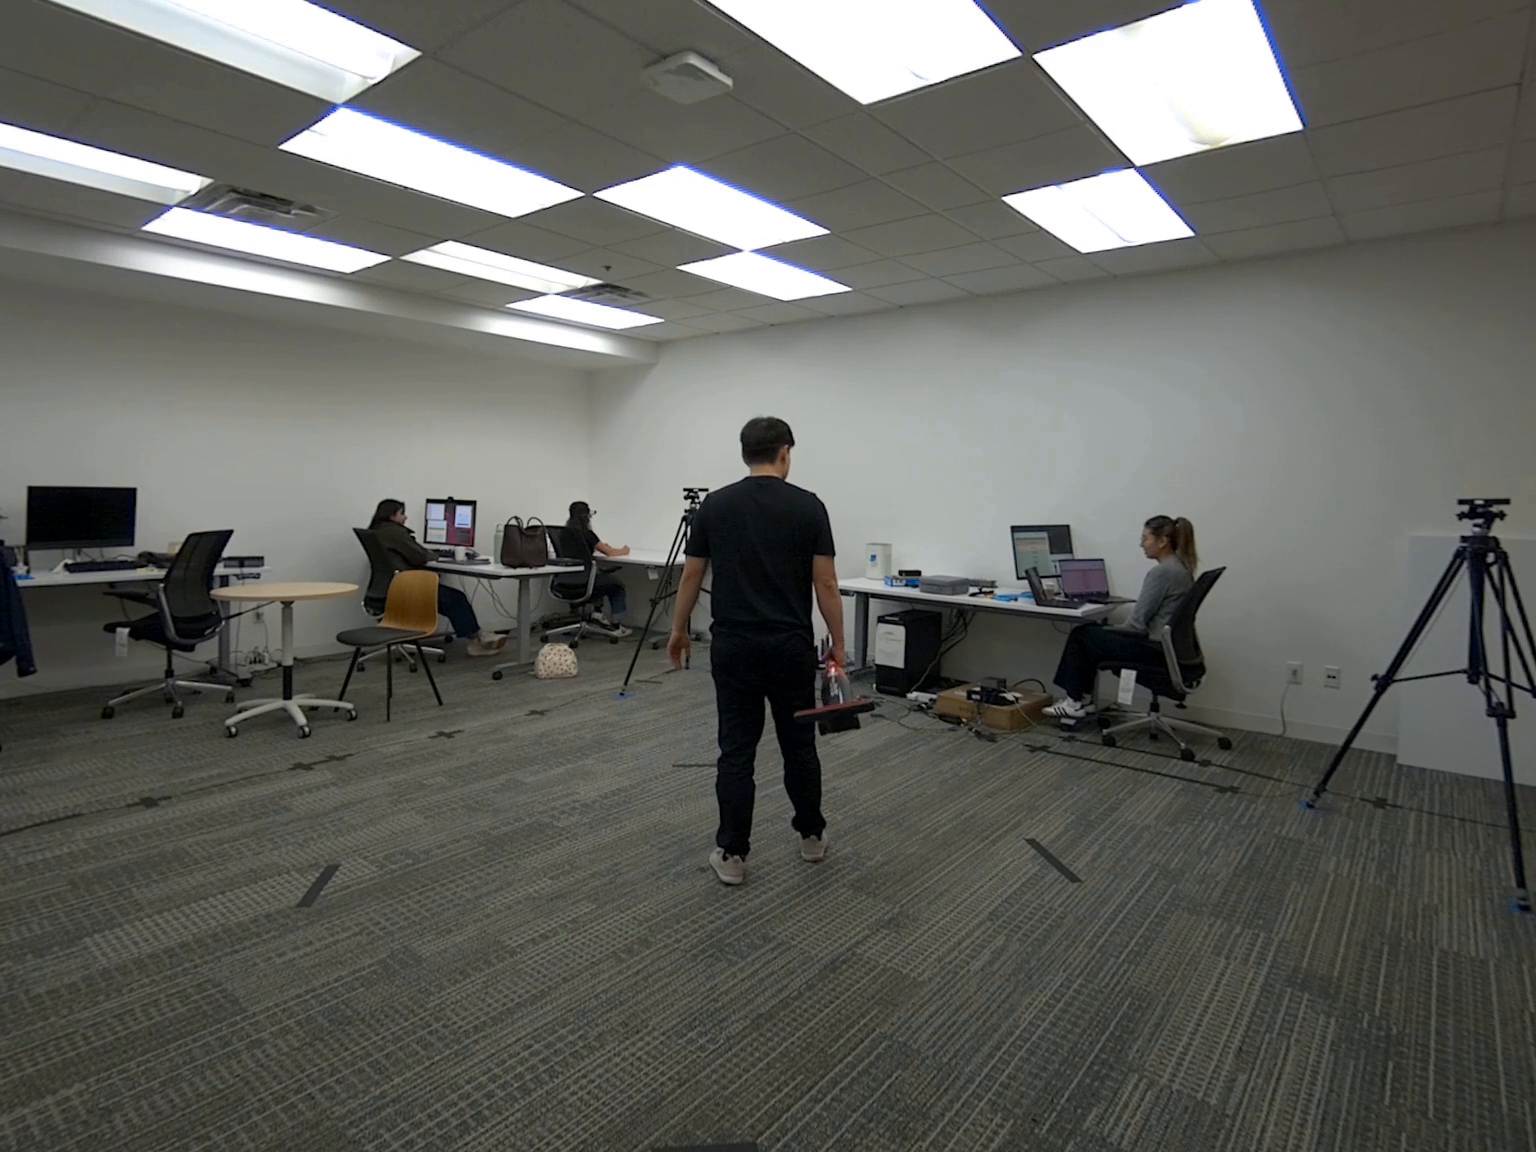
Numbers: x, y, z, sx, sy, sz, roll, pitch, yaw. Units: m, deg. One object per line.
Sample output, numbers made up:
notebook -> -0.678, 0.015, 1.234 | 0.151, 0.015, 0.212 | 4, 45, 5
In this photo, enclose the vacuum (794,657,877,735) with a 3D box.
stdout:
vacuum -> 0.249, 0.344, 3.232 | 0.254, 0.142, 1.055 | -5, 12, 4
